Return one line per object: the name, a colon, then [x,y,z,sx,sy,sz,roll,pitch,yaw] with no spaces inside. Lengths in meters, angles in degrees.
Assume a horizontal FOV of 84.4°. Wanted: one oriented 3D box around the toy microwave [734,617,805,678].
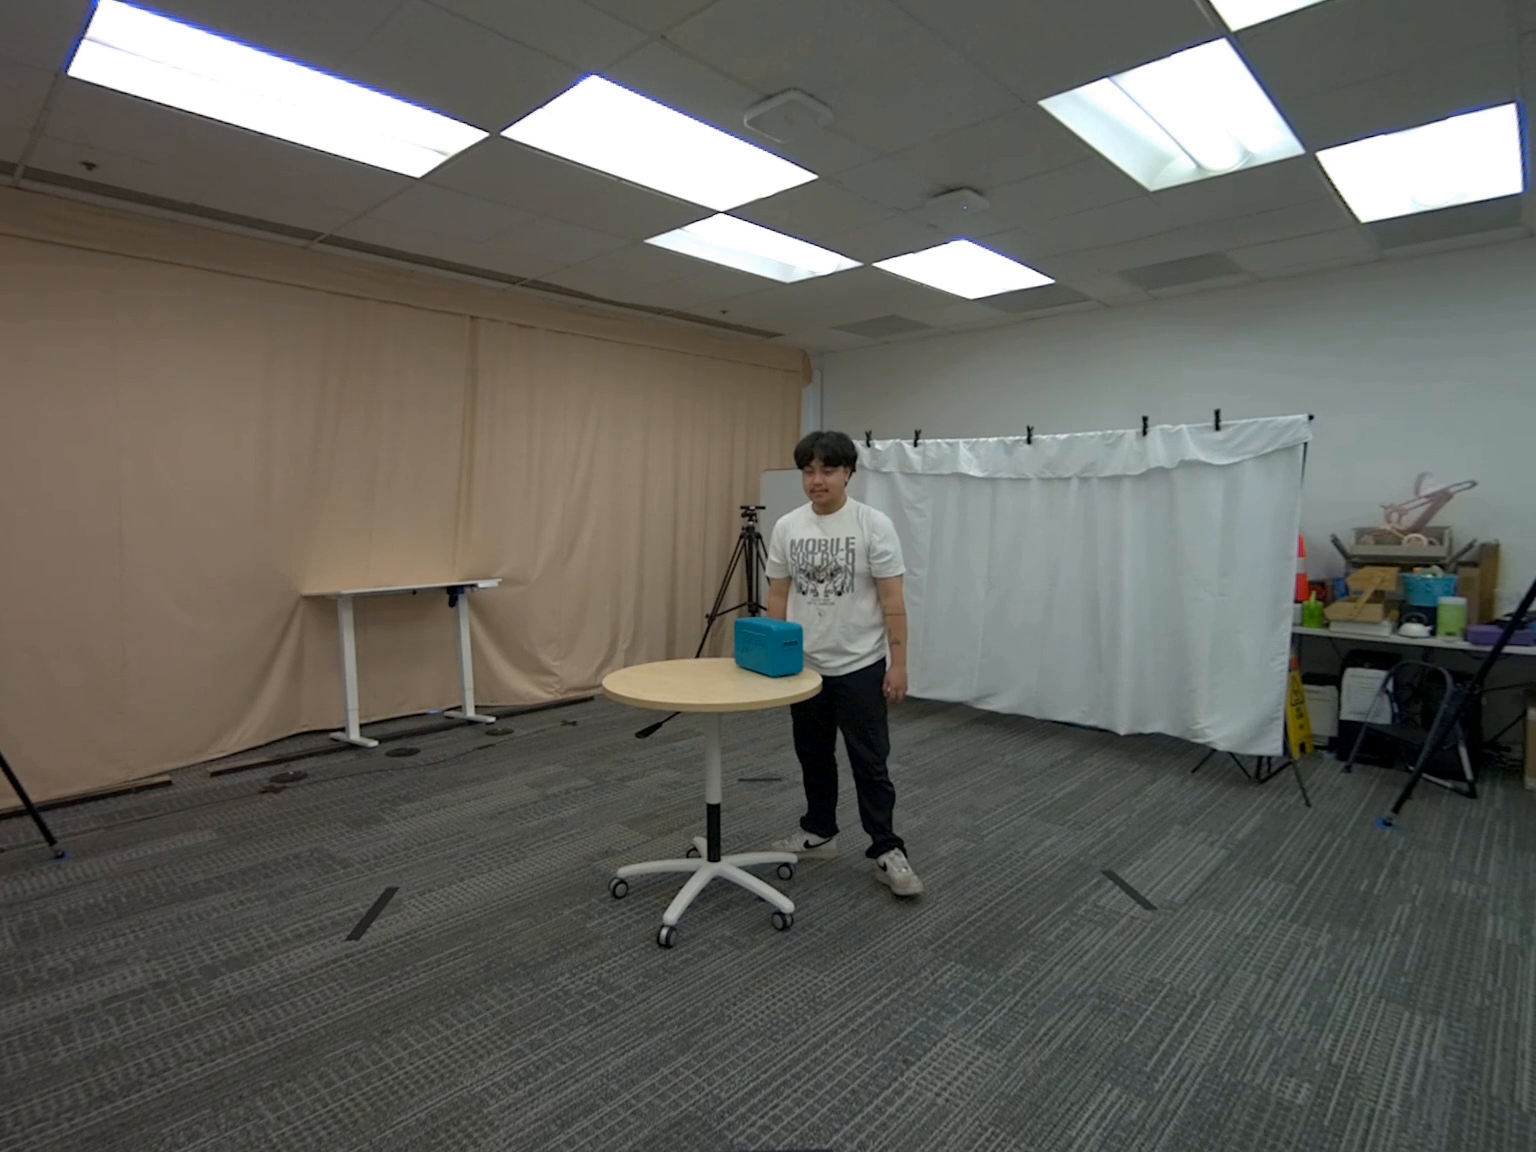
toy microwave: [0.001,0.254,3.054,0.148,0.184,0.294,-2,4,-29]
